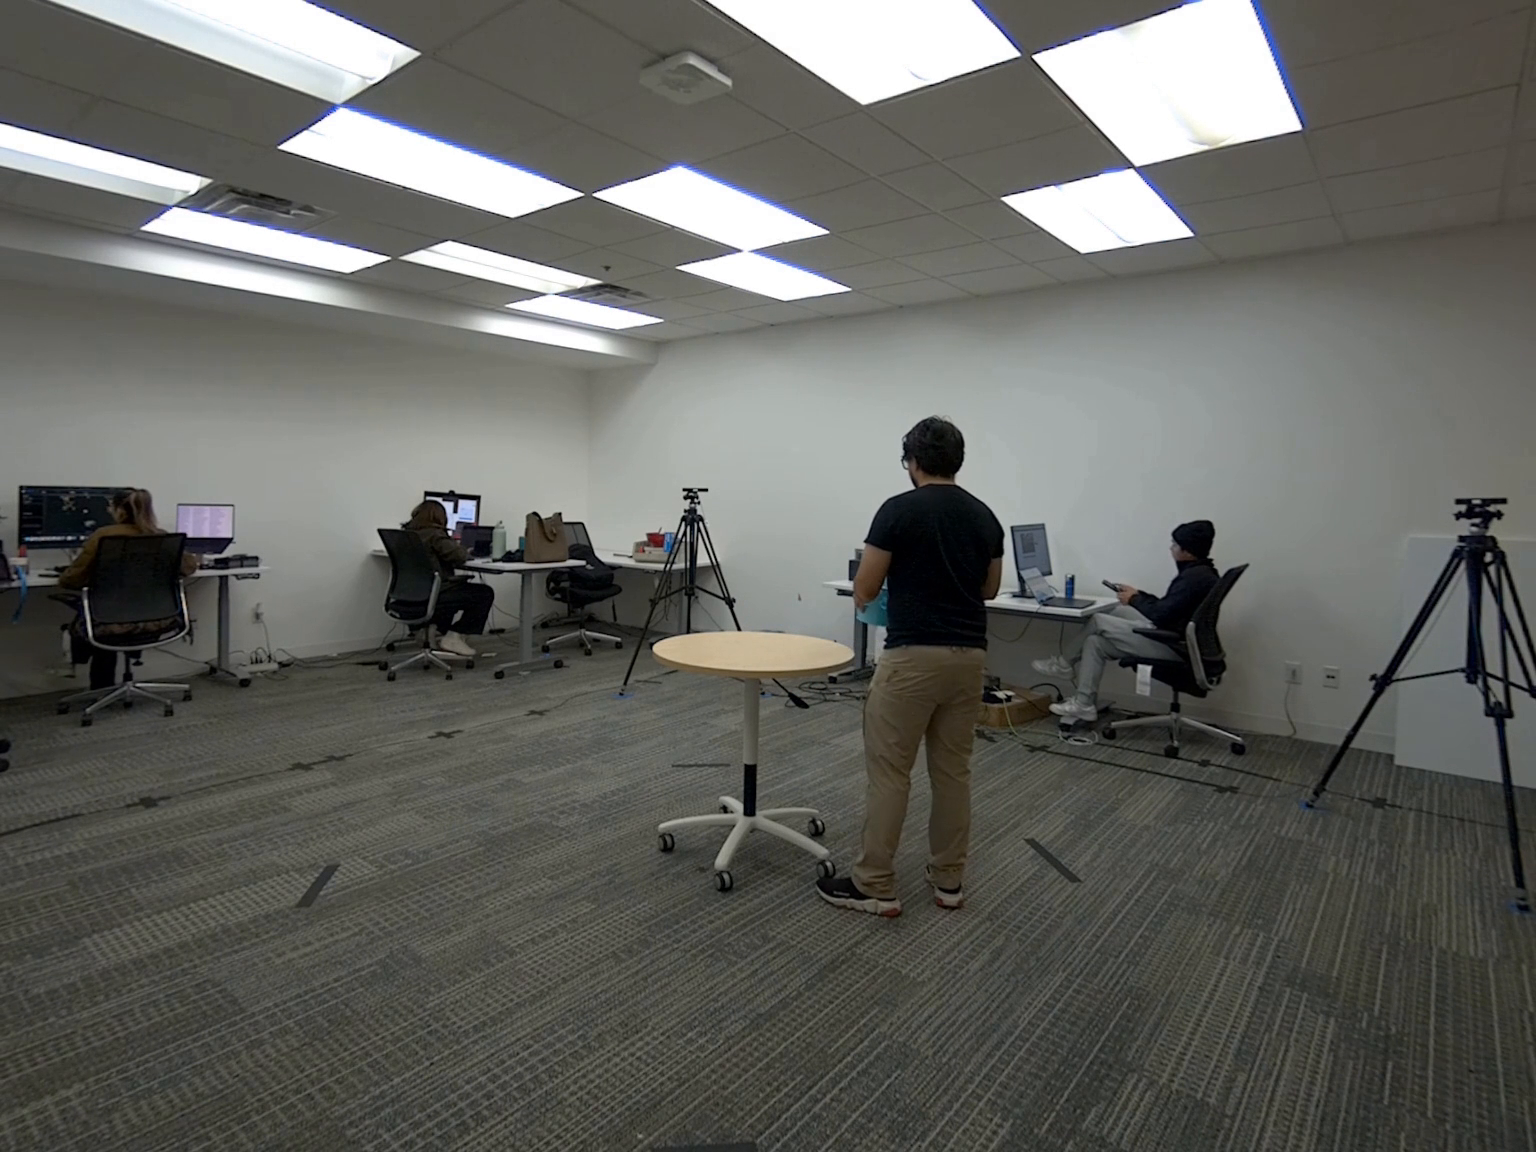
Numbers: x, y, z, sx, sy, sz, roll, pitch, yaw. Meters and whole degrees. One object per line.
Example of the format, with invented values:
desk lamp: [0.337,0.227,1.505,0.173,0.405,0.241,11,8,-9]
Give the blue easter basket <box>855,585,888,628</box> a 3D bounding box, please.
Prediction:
blue easter basket: [0.448,0.094,3.281,0.243,0.155,0.246,4,9,-2]
